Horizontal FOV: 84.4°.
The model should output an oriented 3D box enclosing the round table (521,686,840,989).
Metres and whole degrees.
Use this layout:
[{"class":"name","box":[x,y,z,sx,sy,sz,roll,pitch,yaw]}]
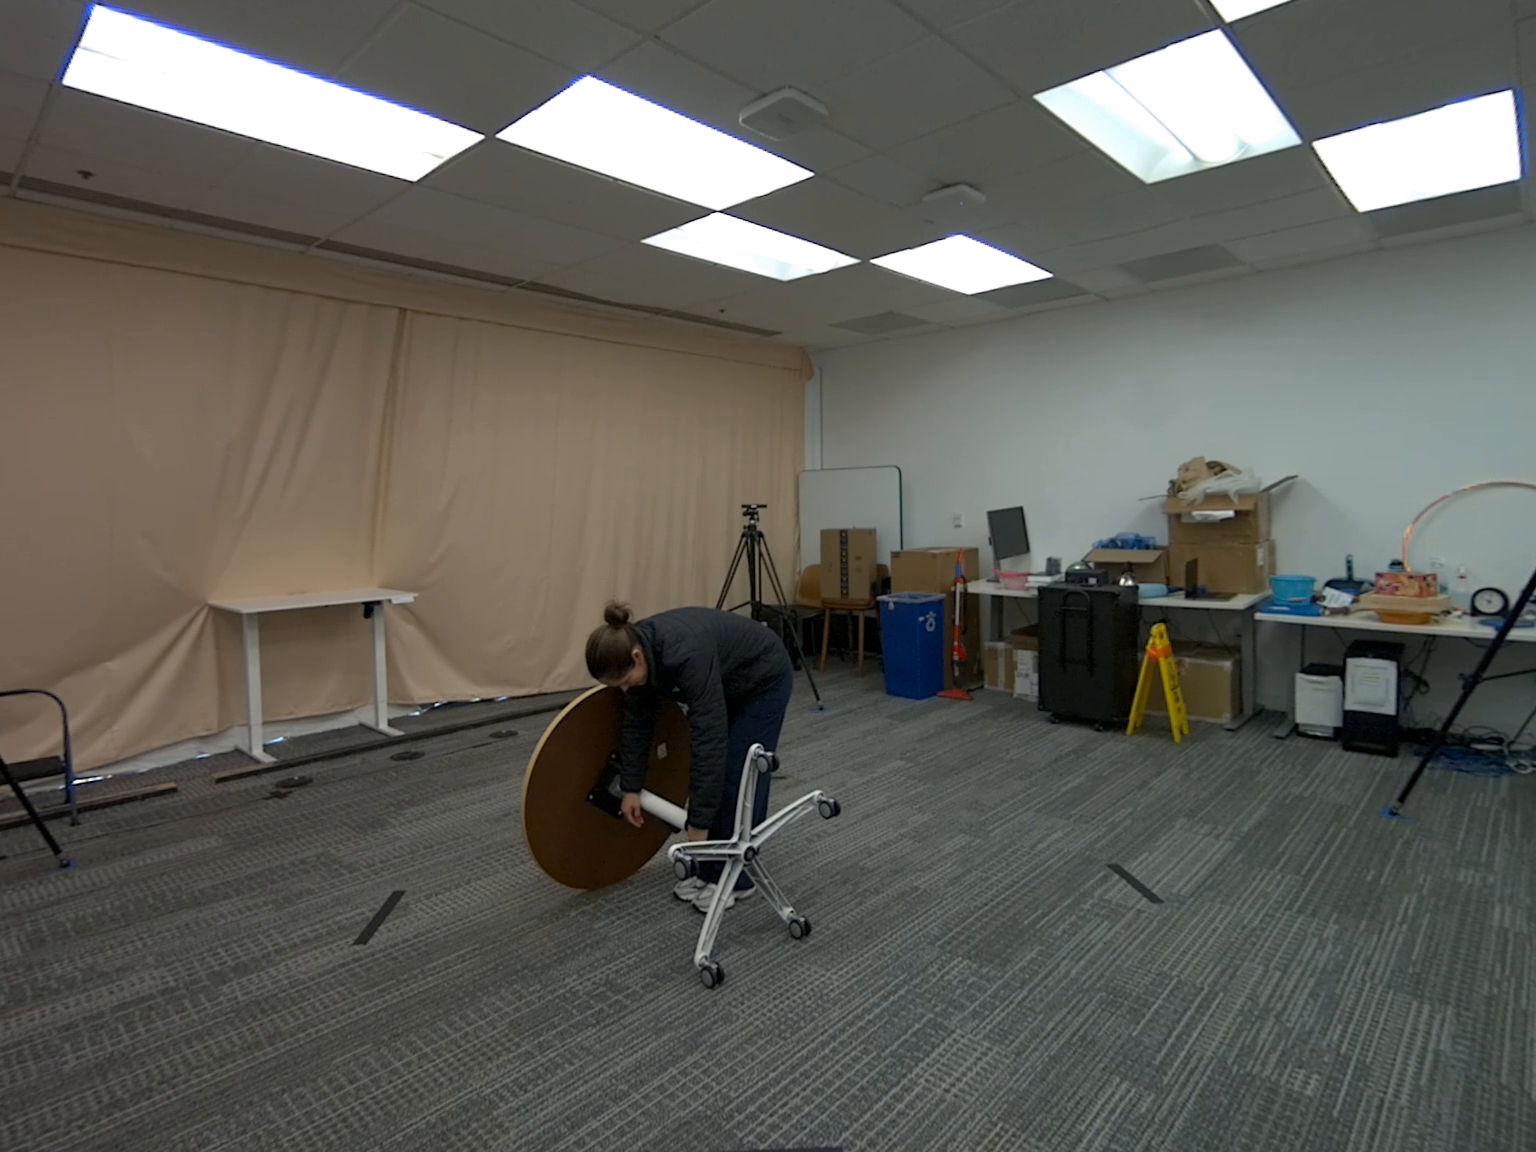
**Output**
[{"class":"round table","box":[-0.260,0.824,2.822,0.814,0.782,0.761,10,11,43]}]
